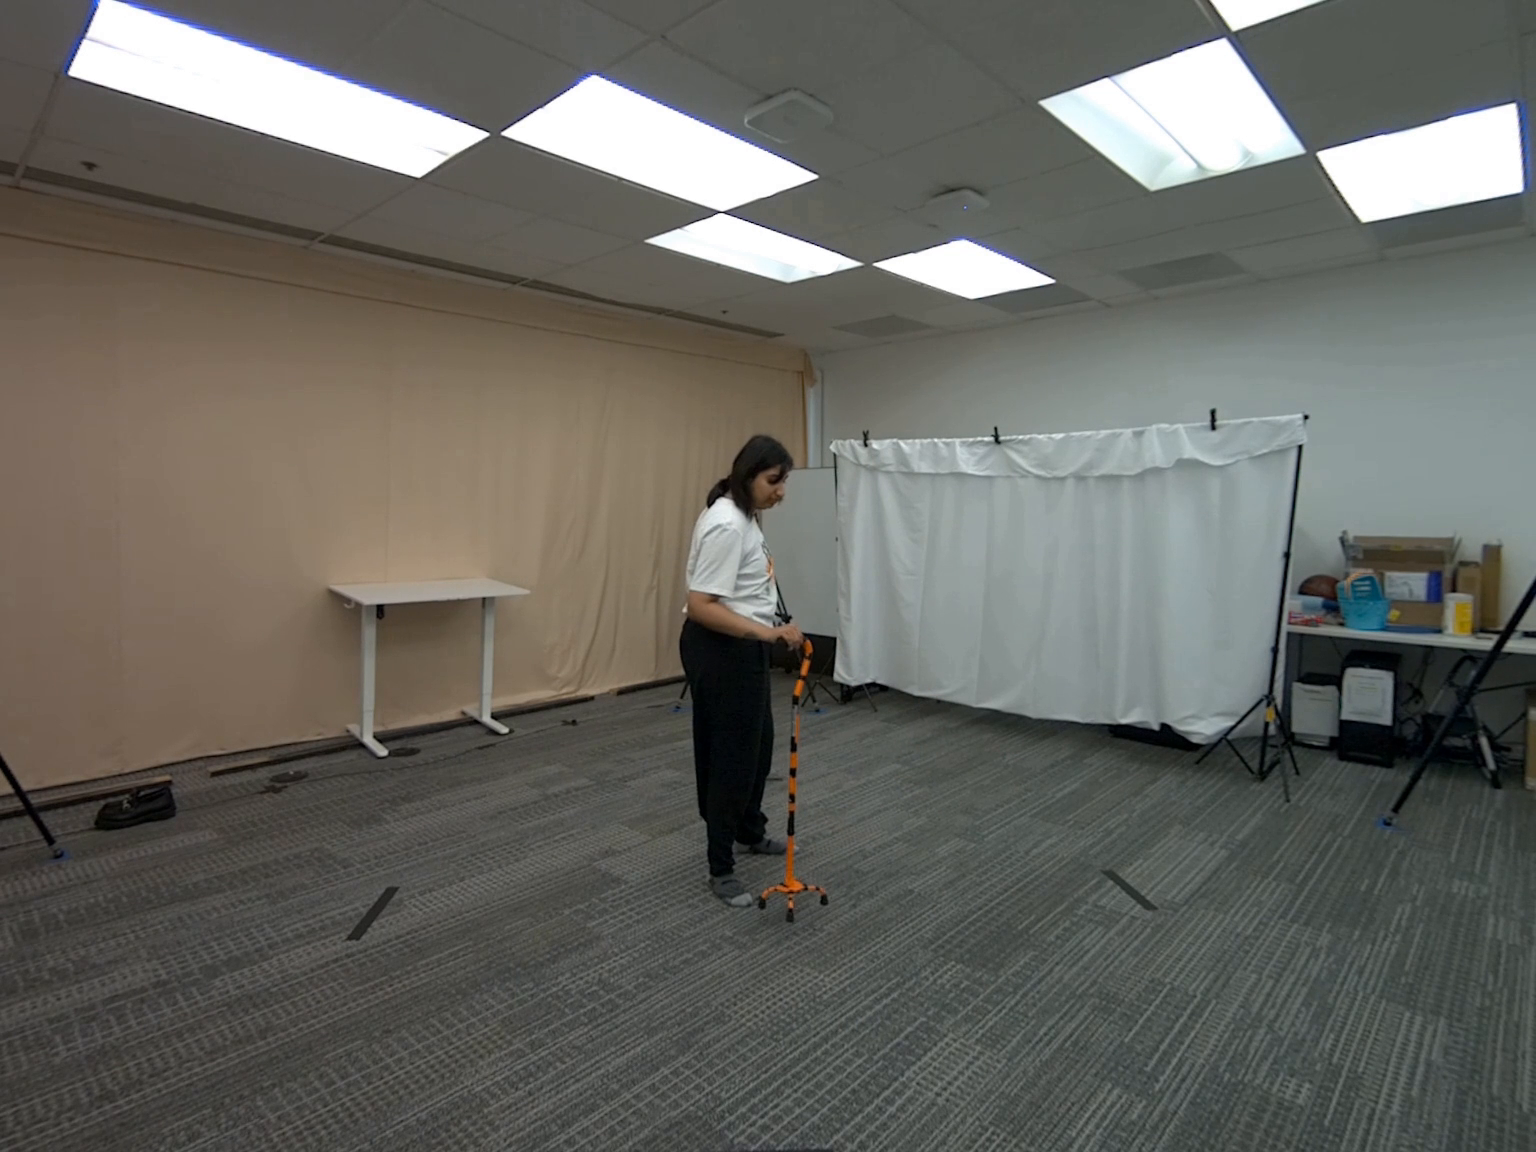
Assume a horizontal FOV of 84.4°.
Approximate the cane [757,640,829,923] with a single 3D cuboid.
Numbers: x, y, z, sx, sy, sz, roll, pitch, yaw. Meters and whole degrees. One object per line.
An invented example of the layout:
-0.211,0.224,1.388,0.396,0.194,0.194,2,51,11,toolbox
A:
0.108,0.651,2.796,0.157,0.906,0.200,4,4,43,cane
